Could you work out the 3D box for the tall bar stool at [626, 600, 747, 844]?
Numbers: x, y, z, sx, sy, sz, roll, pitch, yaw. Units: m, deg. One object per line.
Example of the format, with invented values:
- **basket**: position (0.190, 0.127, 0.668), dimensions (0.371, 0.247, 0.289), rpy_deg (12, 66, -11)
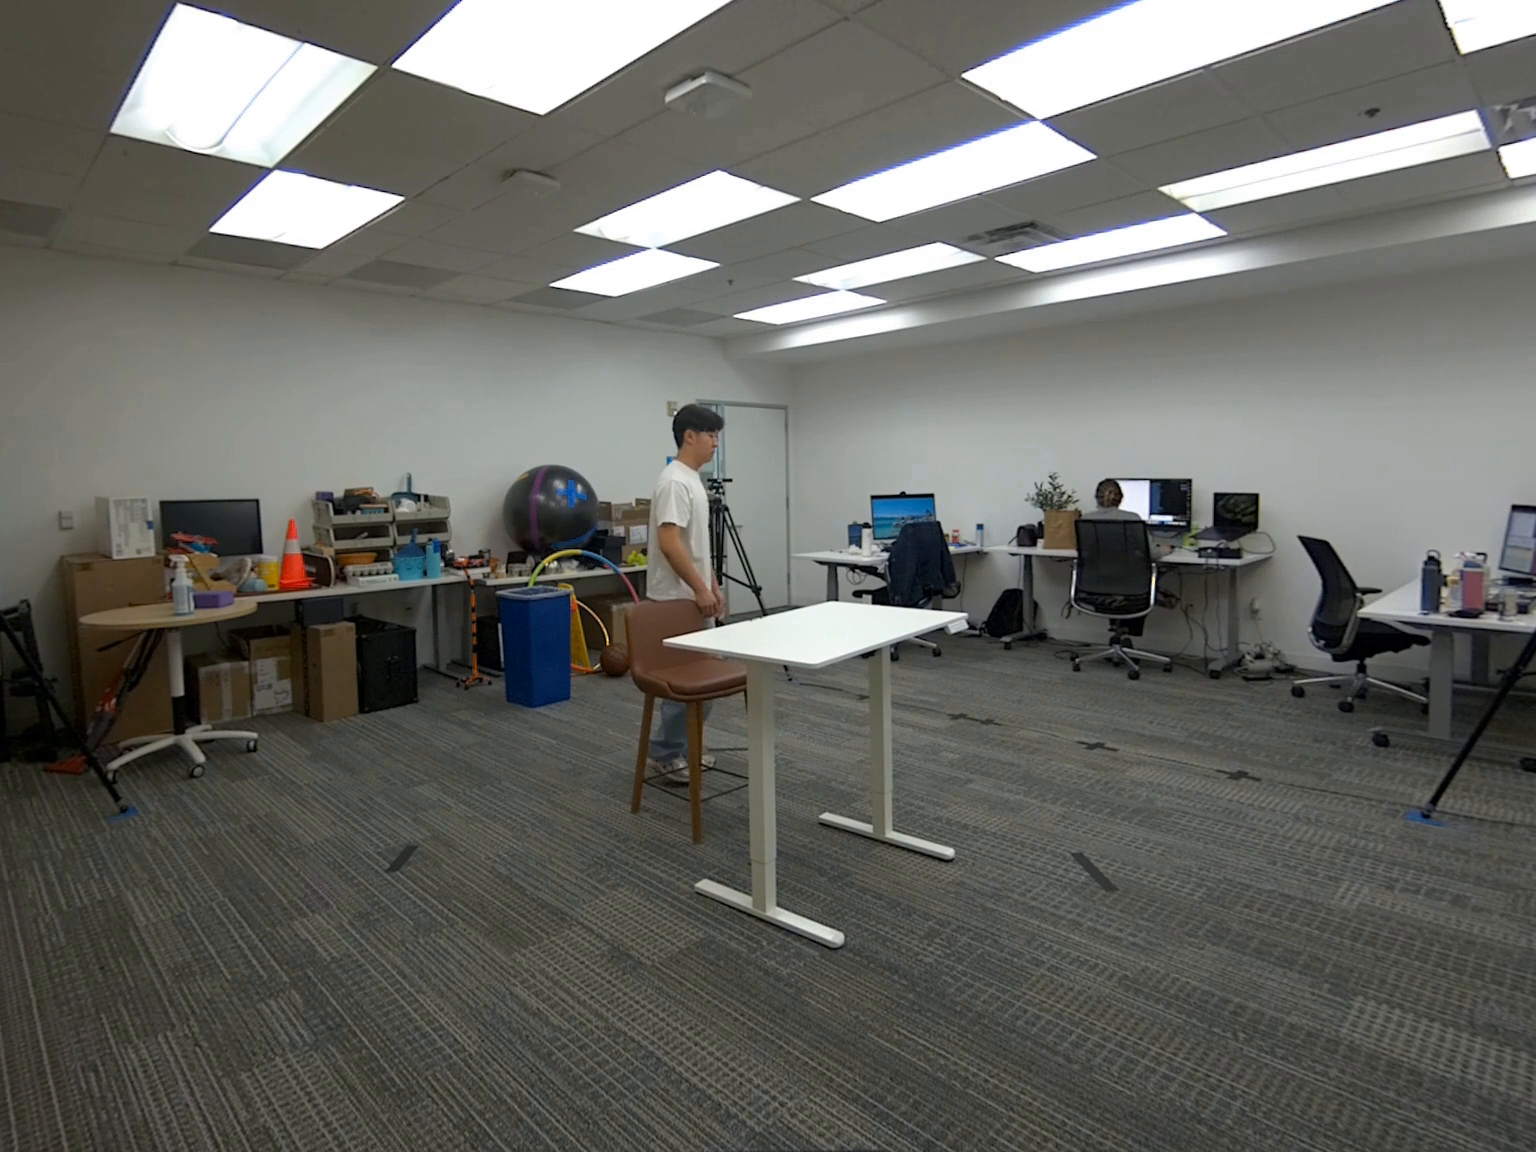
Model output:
- **tall bar stool**: position (-0.298, 0.559, 3.550), dimensions (0.444, 0.888, 0.481), rpy_deg (-4, 3, -44)
